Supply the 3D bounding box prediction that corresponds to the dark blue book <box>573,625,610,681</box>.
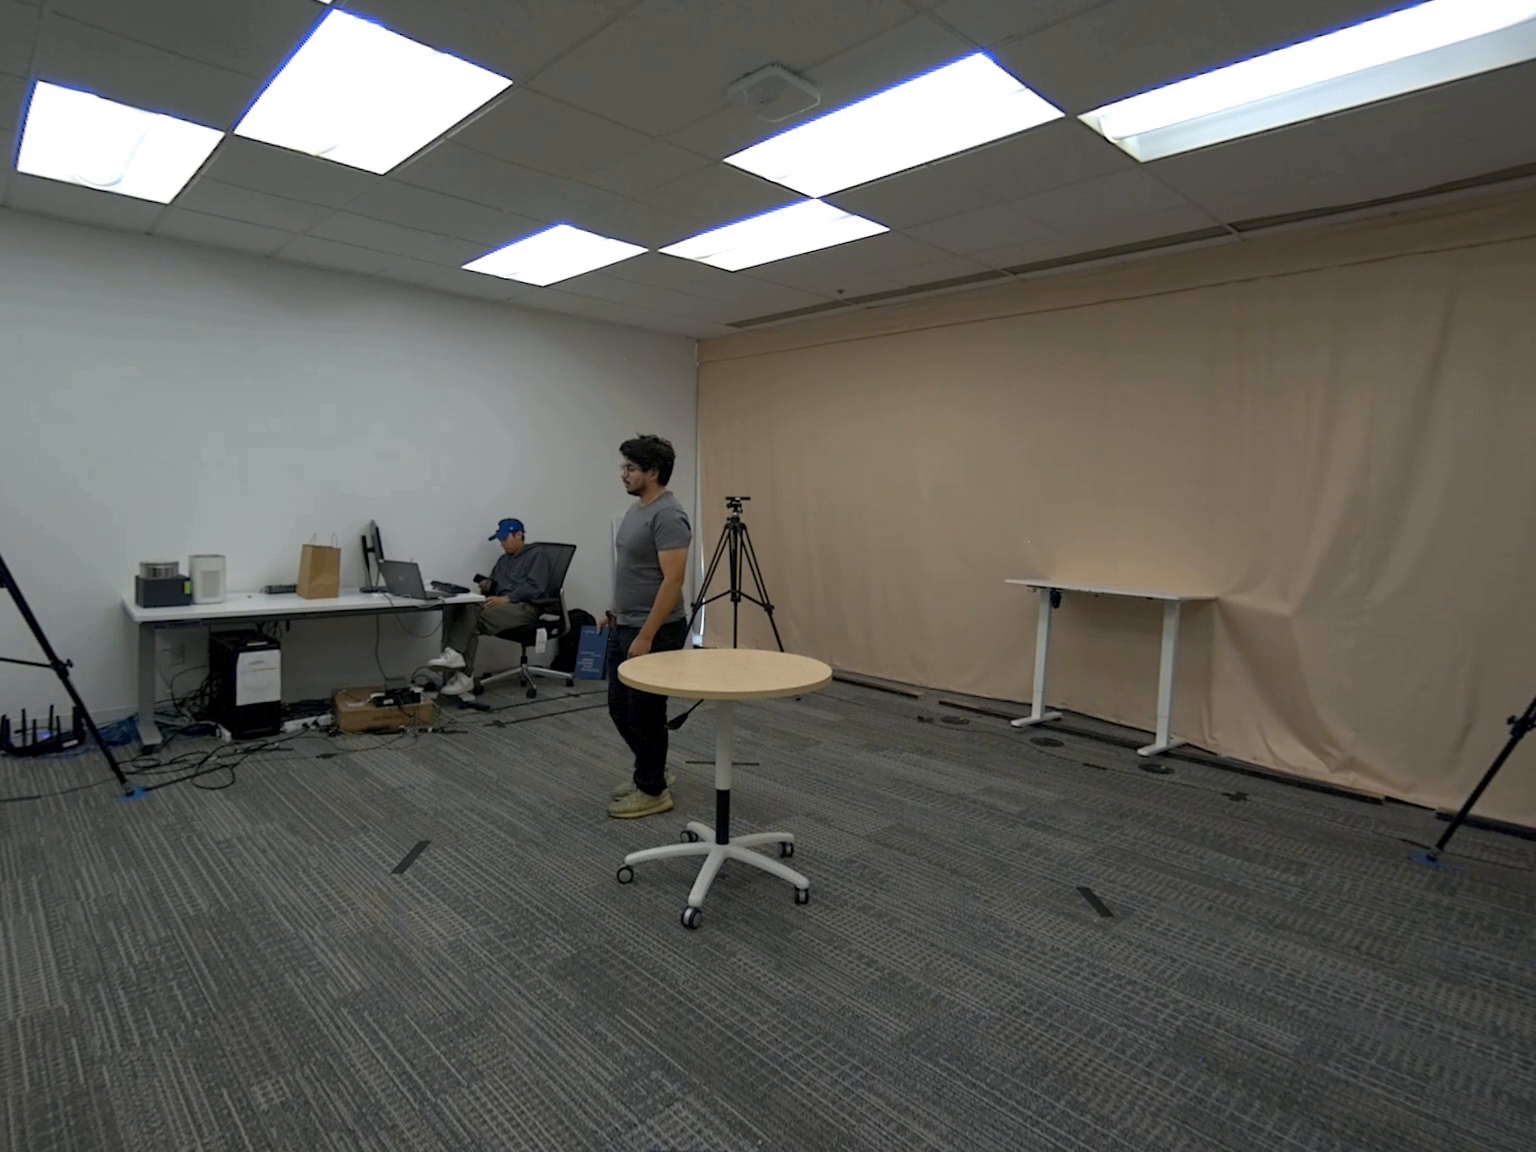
[{"bbox_3d":[-0.819,0.357,3.936,0.166,0.247,0.044,-2,-16,26],"label":"dark blue book"}]
